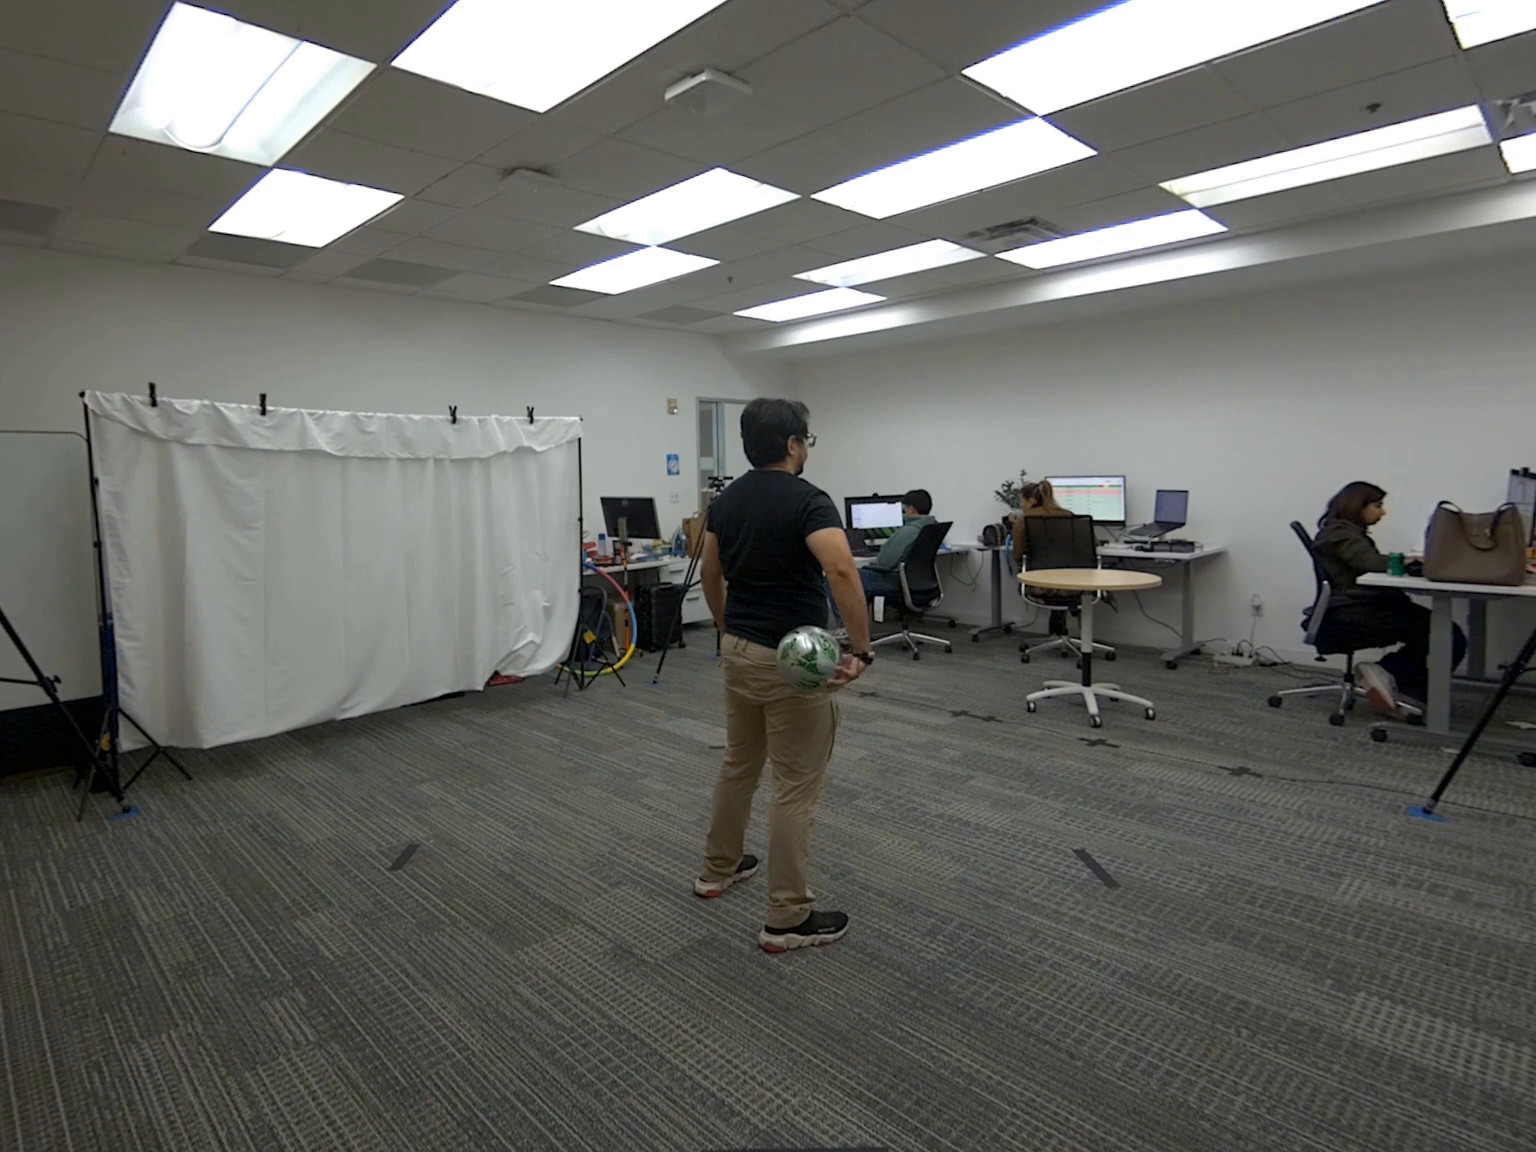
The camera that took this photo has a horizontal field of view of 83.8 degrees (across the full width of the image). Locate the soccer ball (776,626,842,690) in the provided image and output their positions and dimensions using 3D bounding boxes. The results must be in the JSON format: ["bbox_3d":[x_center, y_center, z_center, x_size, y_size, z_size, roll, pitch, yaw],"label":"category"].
[{"bbox_3d":[0.116,0.233,2.387,0.187,0.187,0.188,-1,5,-2],"label":"soccer ball"}]
